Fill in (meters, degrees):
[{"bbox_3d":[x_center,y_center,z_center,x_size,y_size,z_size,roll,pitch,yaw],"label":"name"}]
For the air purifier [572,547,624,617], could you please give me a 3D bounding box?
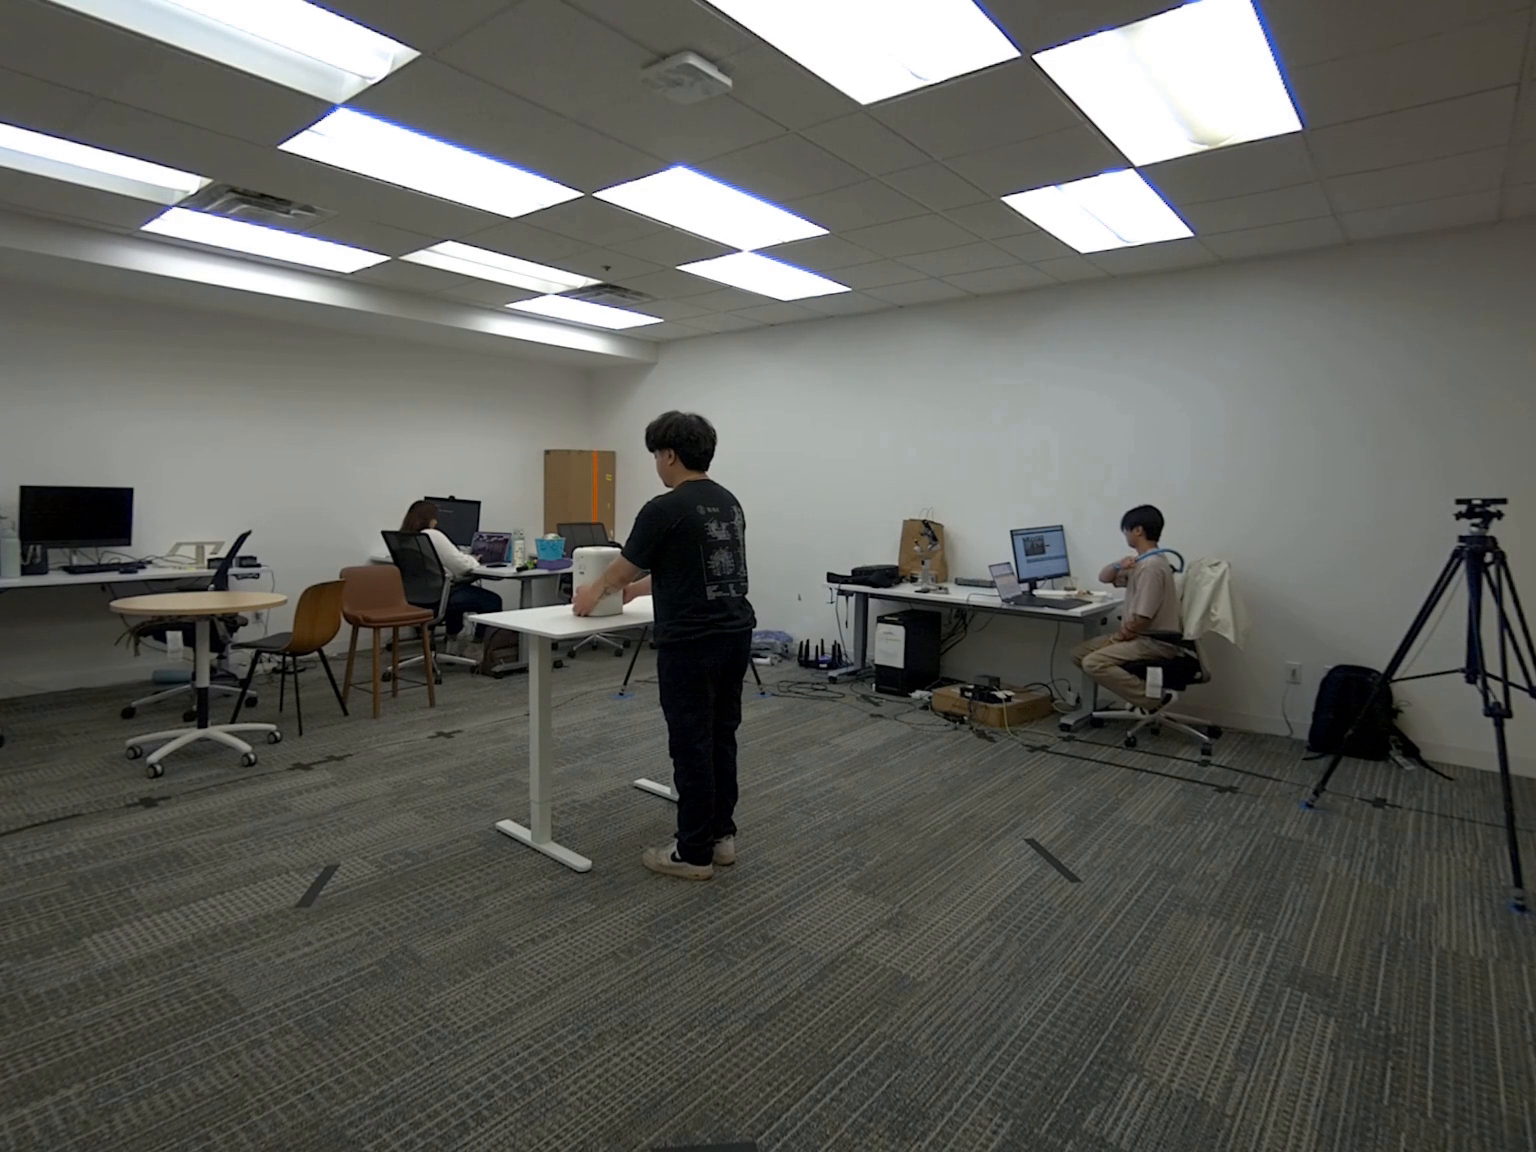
[{"bbox_3d":[-0.702,0.016,3.422,0.176,0.265,0.166,2,4,37],"label":"air purifier"}]
